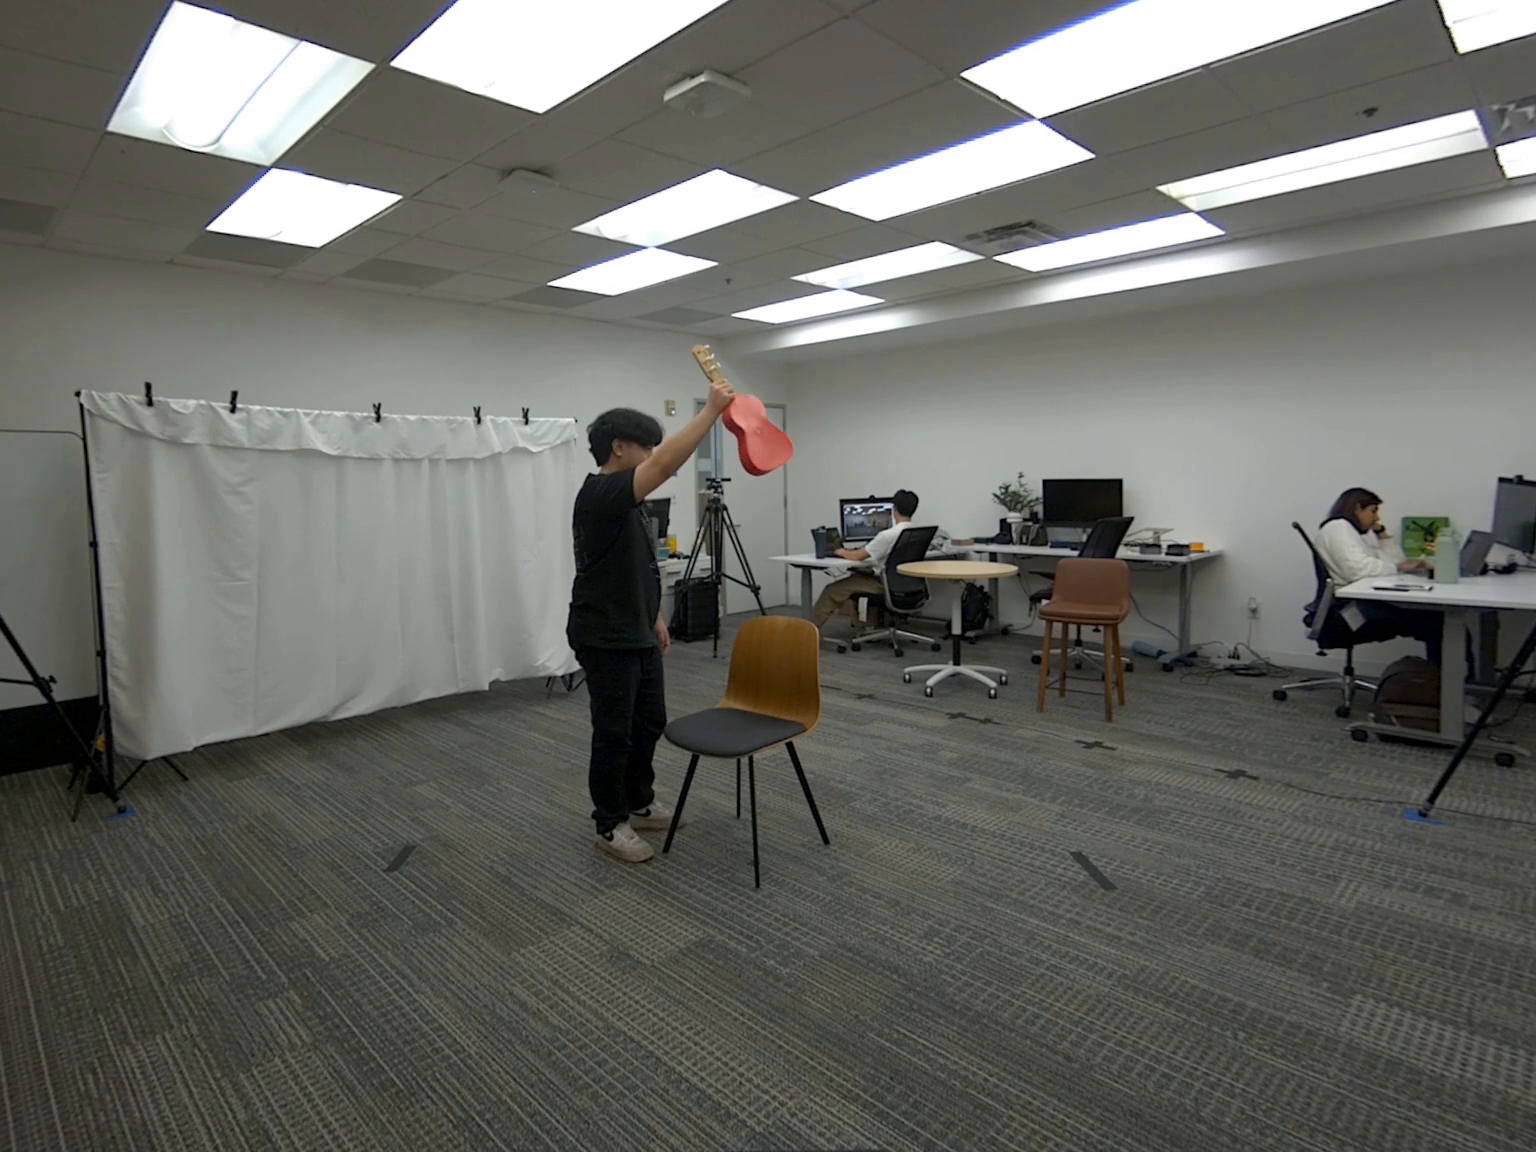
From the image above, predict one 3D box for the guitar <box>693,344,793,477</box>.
[{"bbox_3d":[-0.121,-0.556,2.872,0.192,0.494,0.071,-42,6,-34],"label":"guitar"}]
